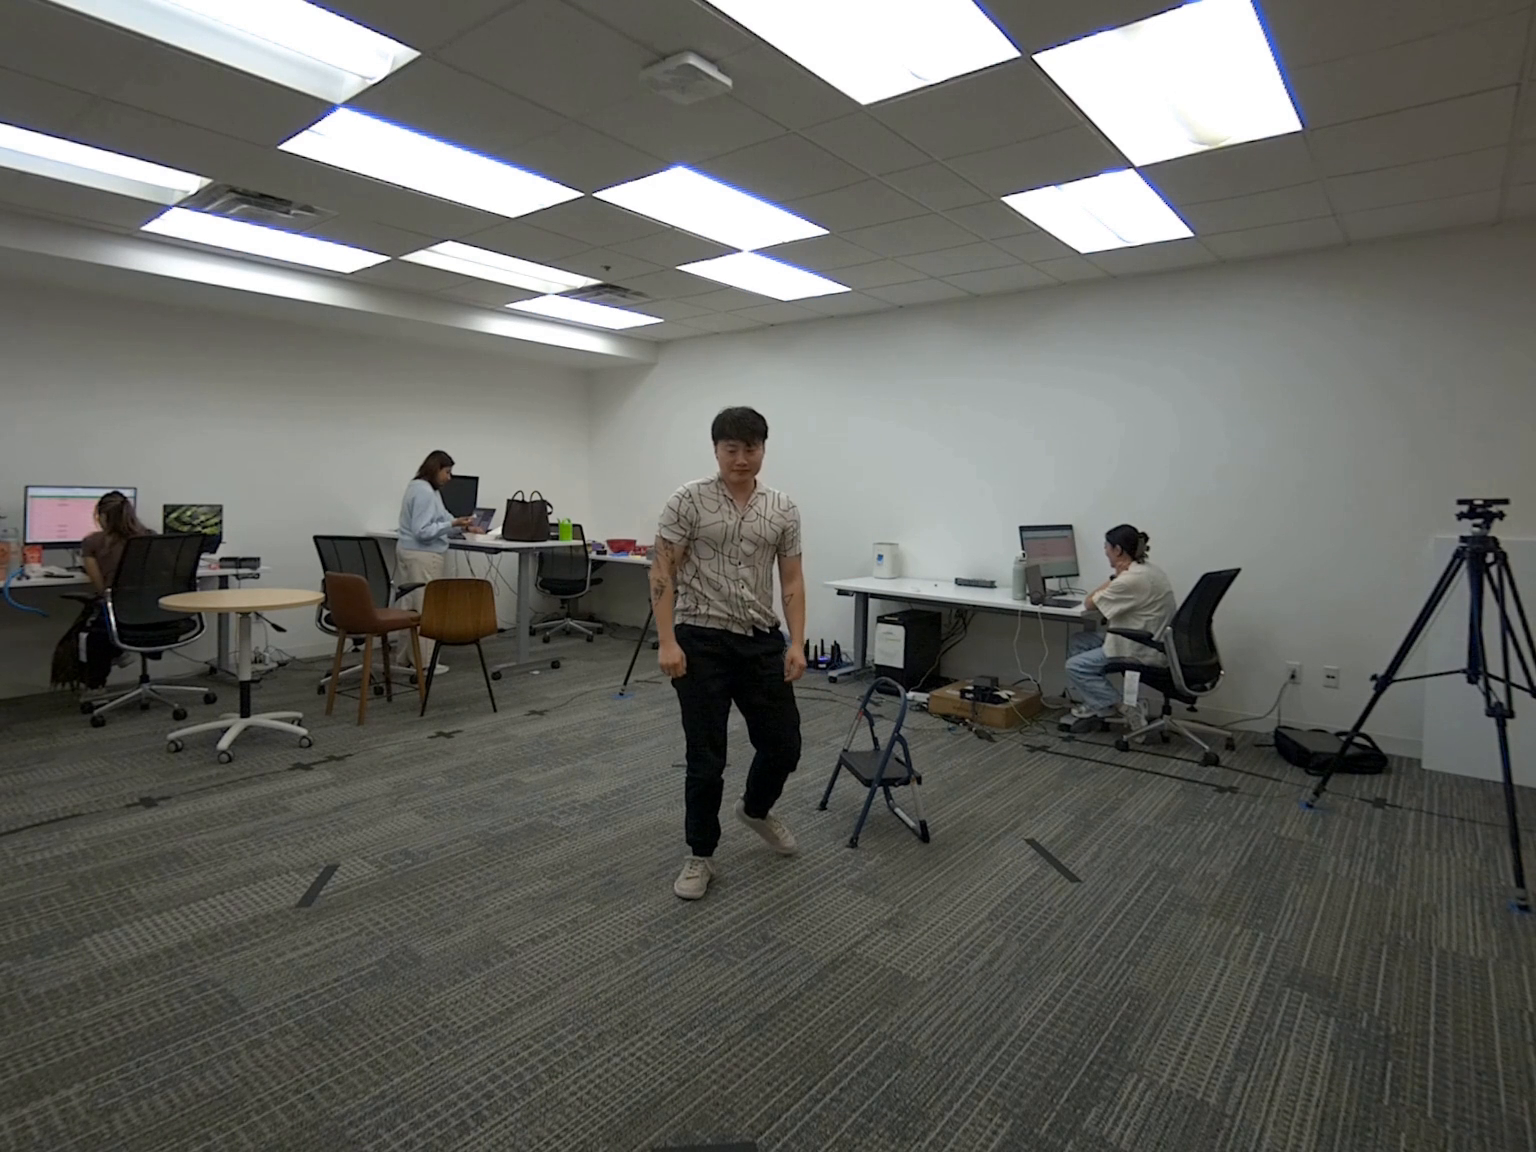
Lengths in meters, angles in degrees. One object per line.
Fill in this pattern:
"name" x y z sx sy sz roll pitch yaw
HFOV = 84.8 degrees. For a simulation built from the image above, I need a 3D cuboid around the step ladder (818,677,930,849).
"step ladder" 0.438 0.739 3.551 0.345 0.604 0.438 1 3 -13
